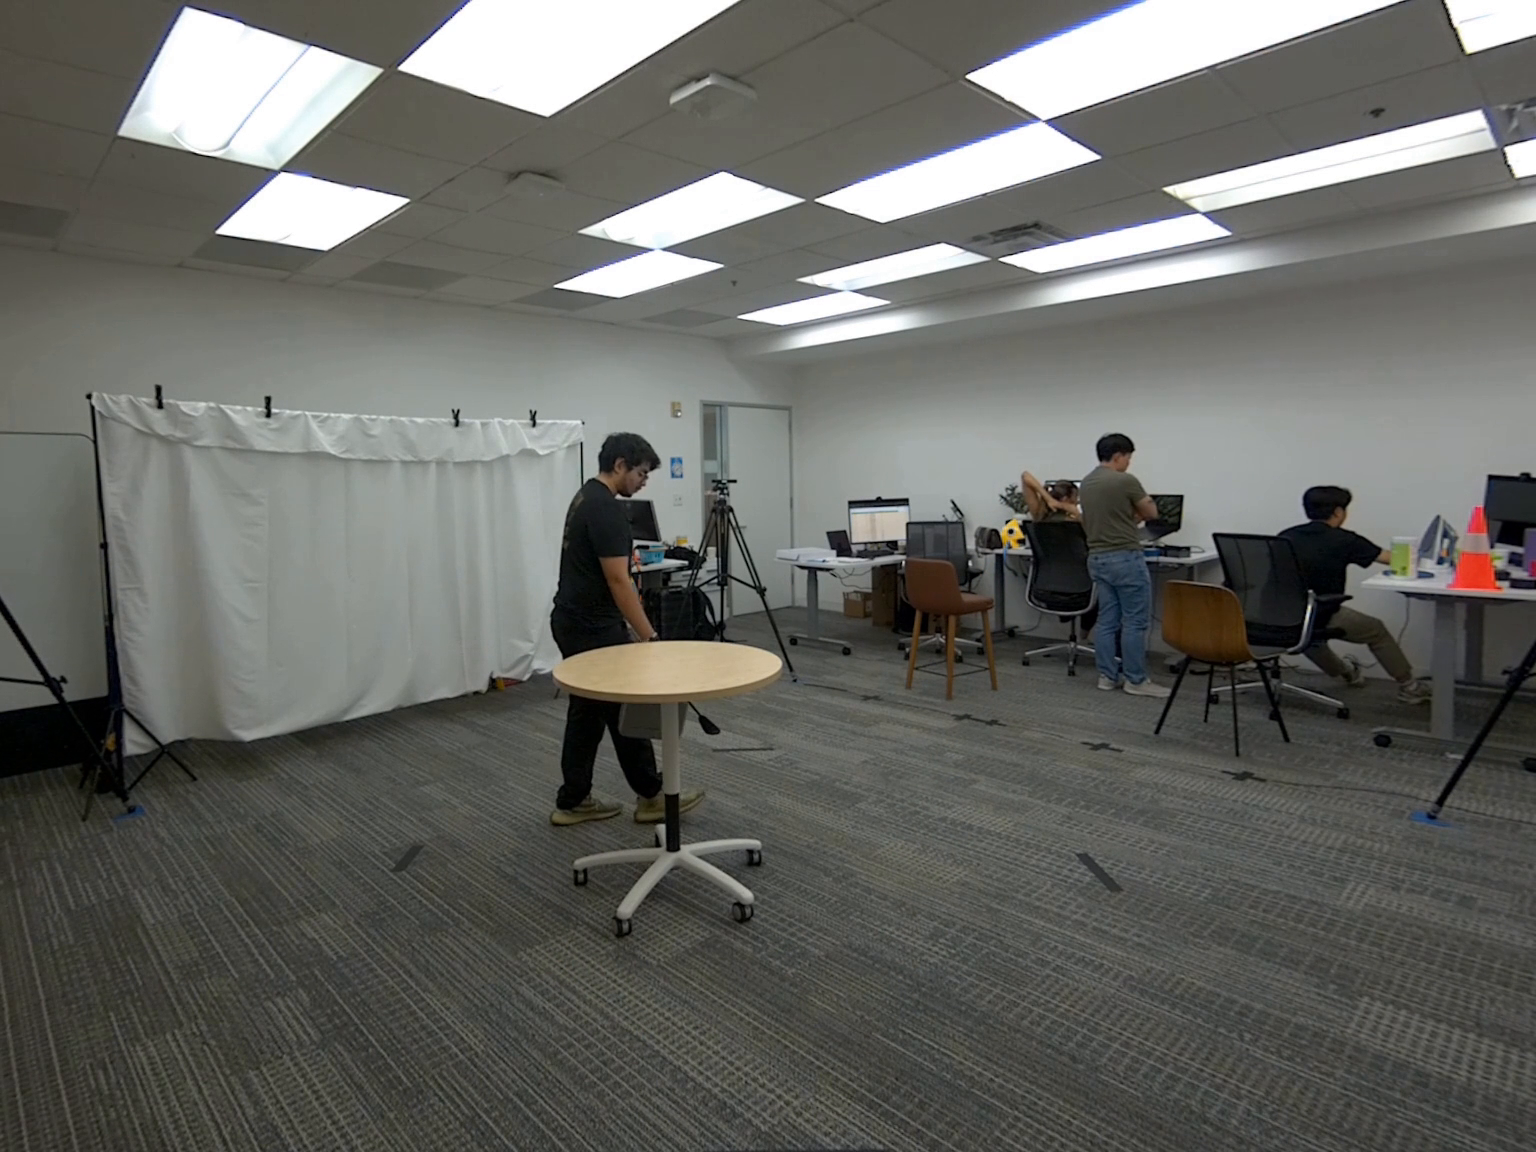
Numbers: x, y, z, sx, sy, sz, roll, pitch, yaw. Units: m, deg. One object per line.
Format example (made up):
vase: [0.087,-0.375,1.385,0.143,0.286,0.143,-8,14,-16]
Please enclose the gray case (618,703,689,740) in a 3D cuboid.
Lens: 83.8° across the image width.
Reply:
gray case: [-0.439,0.501,3.332,0.255,0.259,0.106,9,8,-6]
